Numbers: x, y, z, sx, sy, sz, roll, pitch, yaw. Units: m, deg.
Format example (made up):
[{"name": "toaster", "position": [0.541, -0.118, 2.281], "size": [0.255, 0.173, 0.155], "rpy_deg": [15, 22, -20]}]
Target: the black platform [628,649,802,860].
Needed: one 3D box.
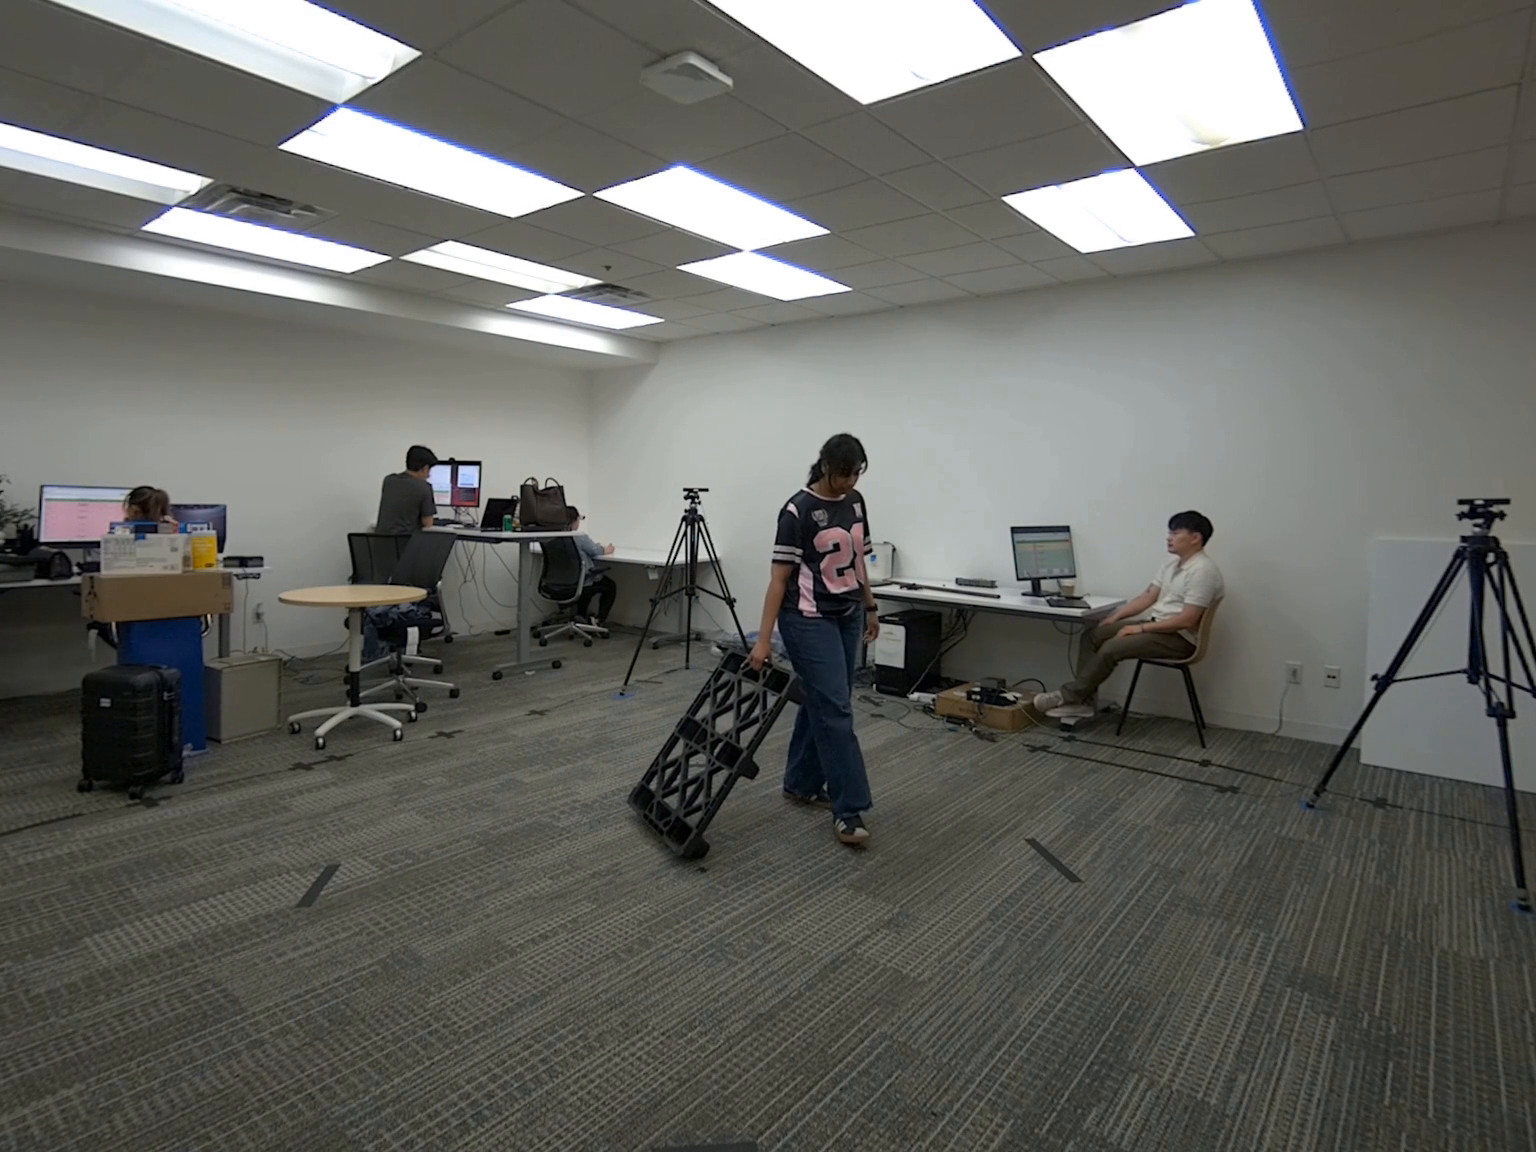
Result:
[{"name": "black platform", "position": [-0.217, 0.702, 3.469], "size": [0.139, 0.807, 0.623], "rpy_deg": [40, -14, -26]}]
